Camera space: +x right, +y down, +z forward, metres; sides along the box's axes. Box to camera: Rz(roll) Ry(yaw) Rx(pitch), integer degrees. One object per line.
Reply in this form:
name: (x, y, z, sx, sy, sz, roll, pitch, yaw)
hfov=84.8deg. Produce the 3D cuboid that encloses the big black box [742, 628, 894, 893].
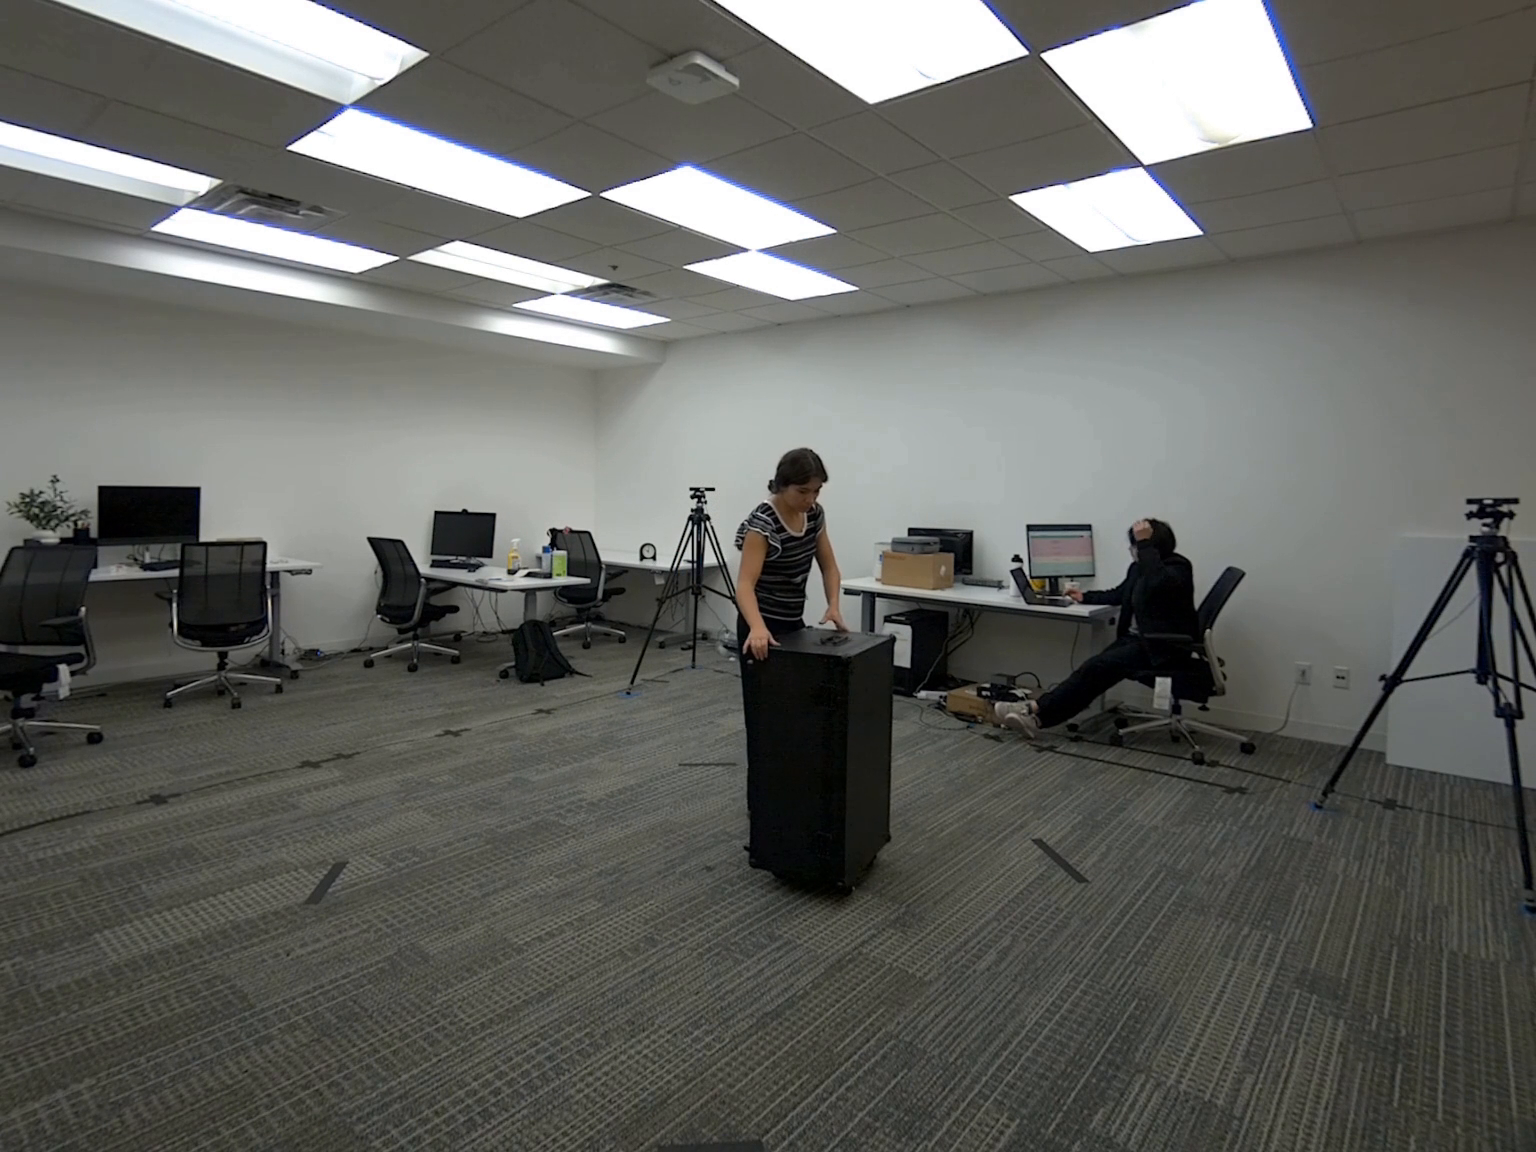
big black box: (0.189, 0.651, 3.078, 0.407, 0.859, 0.509, 2, 4, 28)
